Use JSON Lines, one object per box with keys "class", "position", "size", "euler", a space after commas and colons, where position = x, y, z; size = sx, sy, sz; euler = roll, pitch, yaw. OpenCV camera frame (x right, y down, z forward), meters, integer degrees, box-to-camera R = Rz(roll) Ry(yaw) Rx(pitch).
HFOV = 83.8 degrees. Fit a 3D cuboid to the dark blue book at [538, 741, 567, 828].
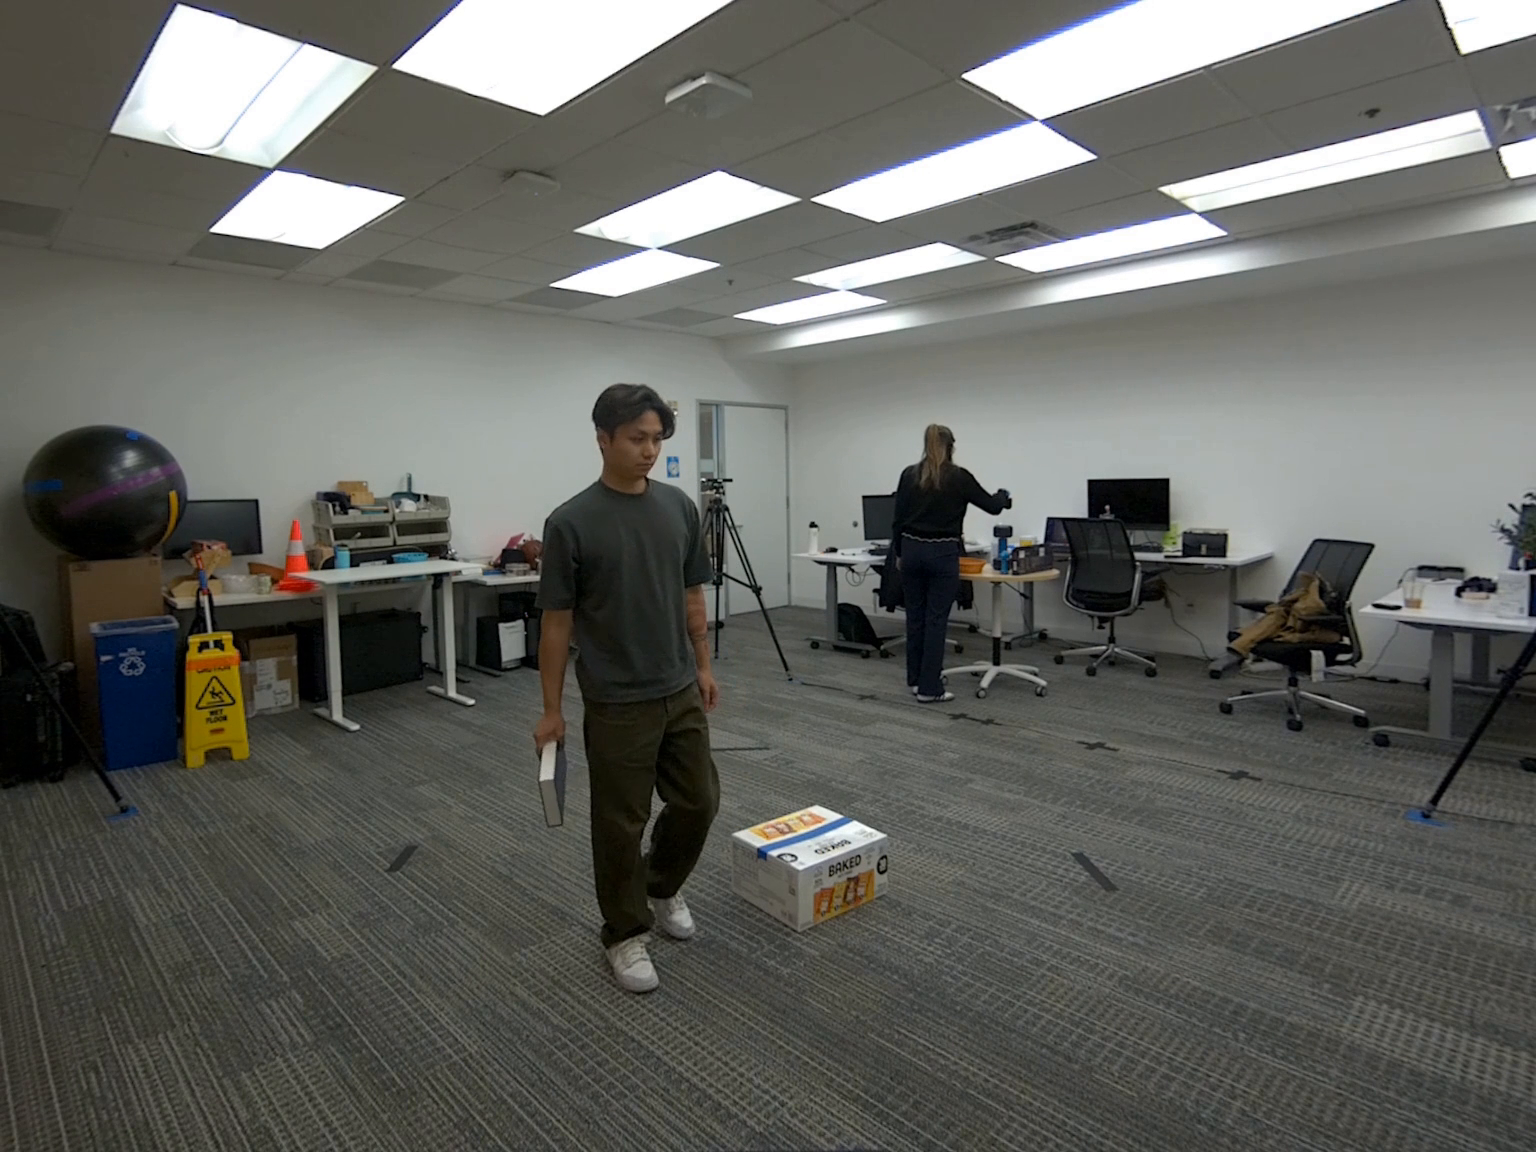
{"class": "dark blue book", "position": [-0.581, 0.542, 2.364], "size": [0.045, 0.160, 0.251], "euler": [-5, 26, -6]}
